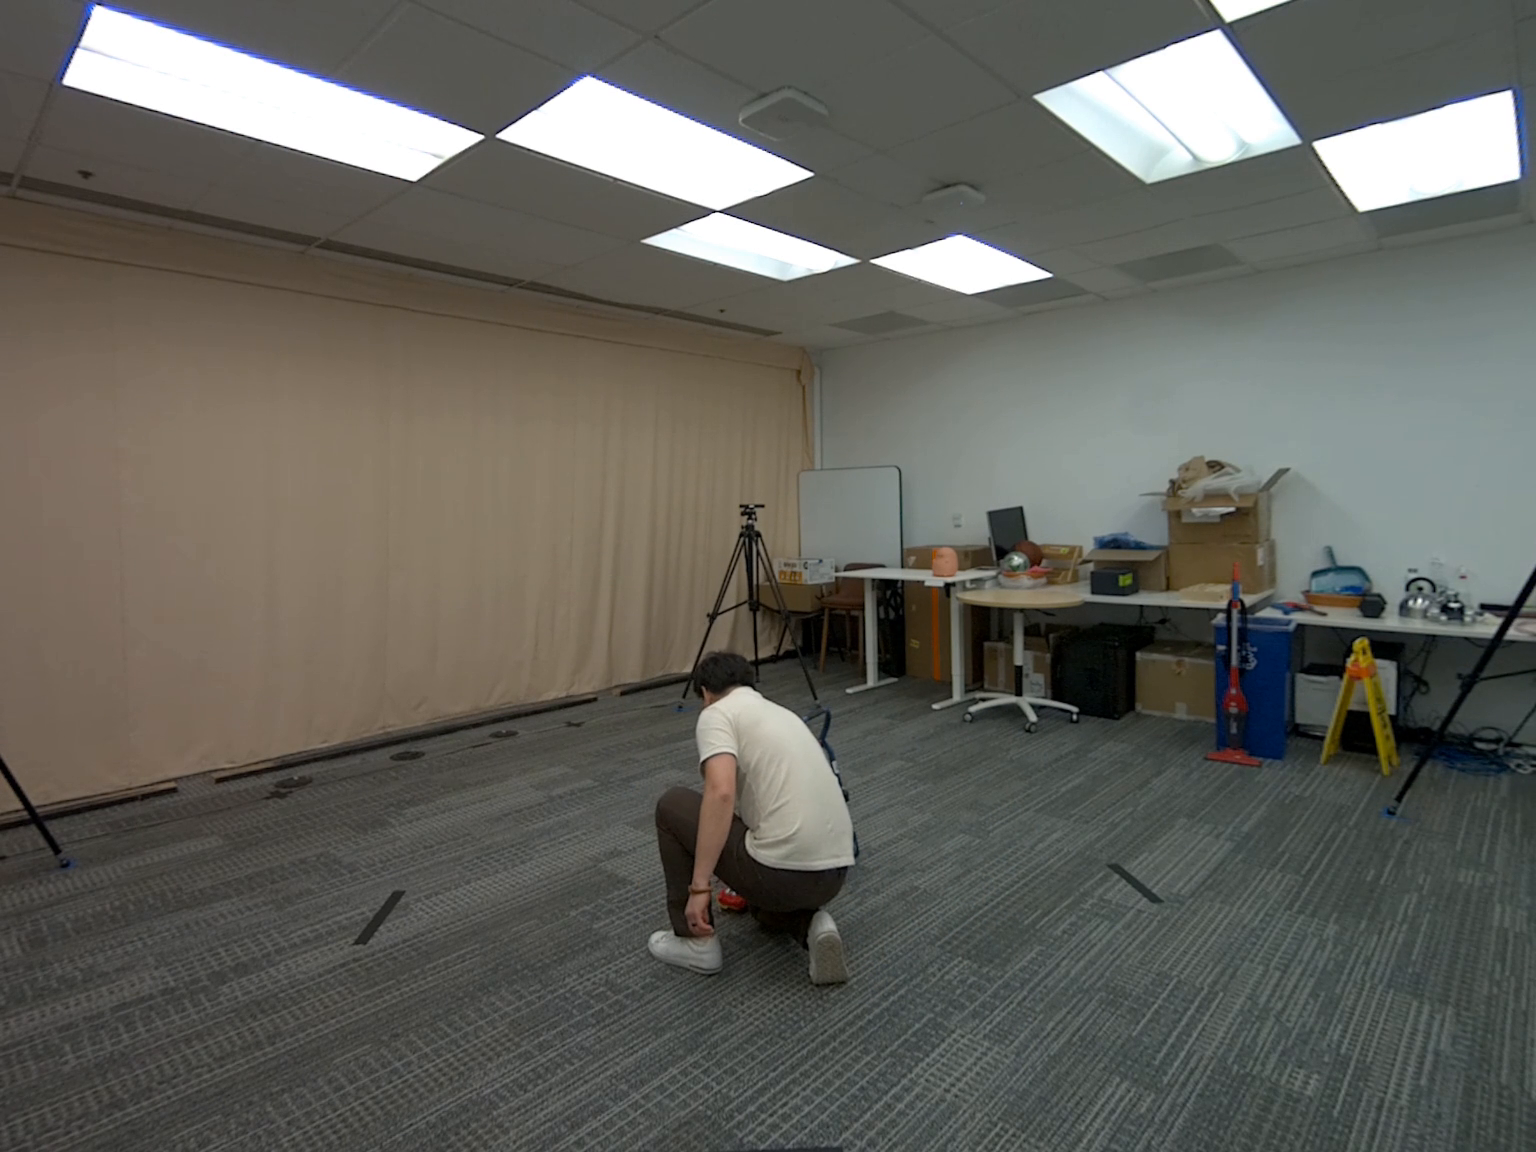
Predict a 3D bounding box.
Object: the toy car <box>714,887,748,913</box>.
[{"bbox_3d":[-0.084,1.115,2.953,0.134,0.083,0.246,2,-3,33],"label":"toy car"}]
